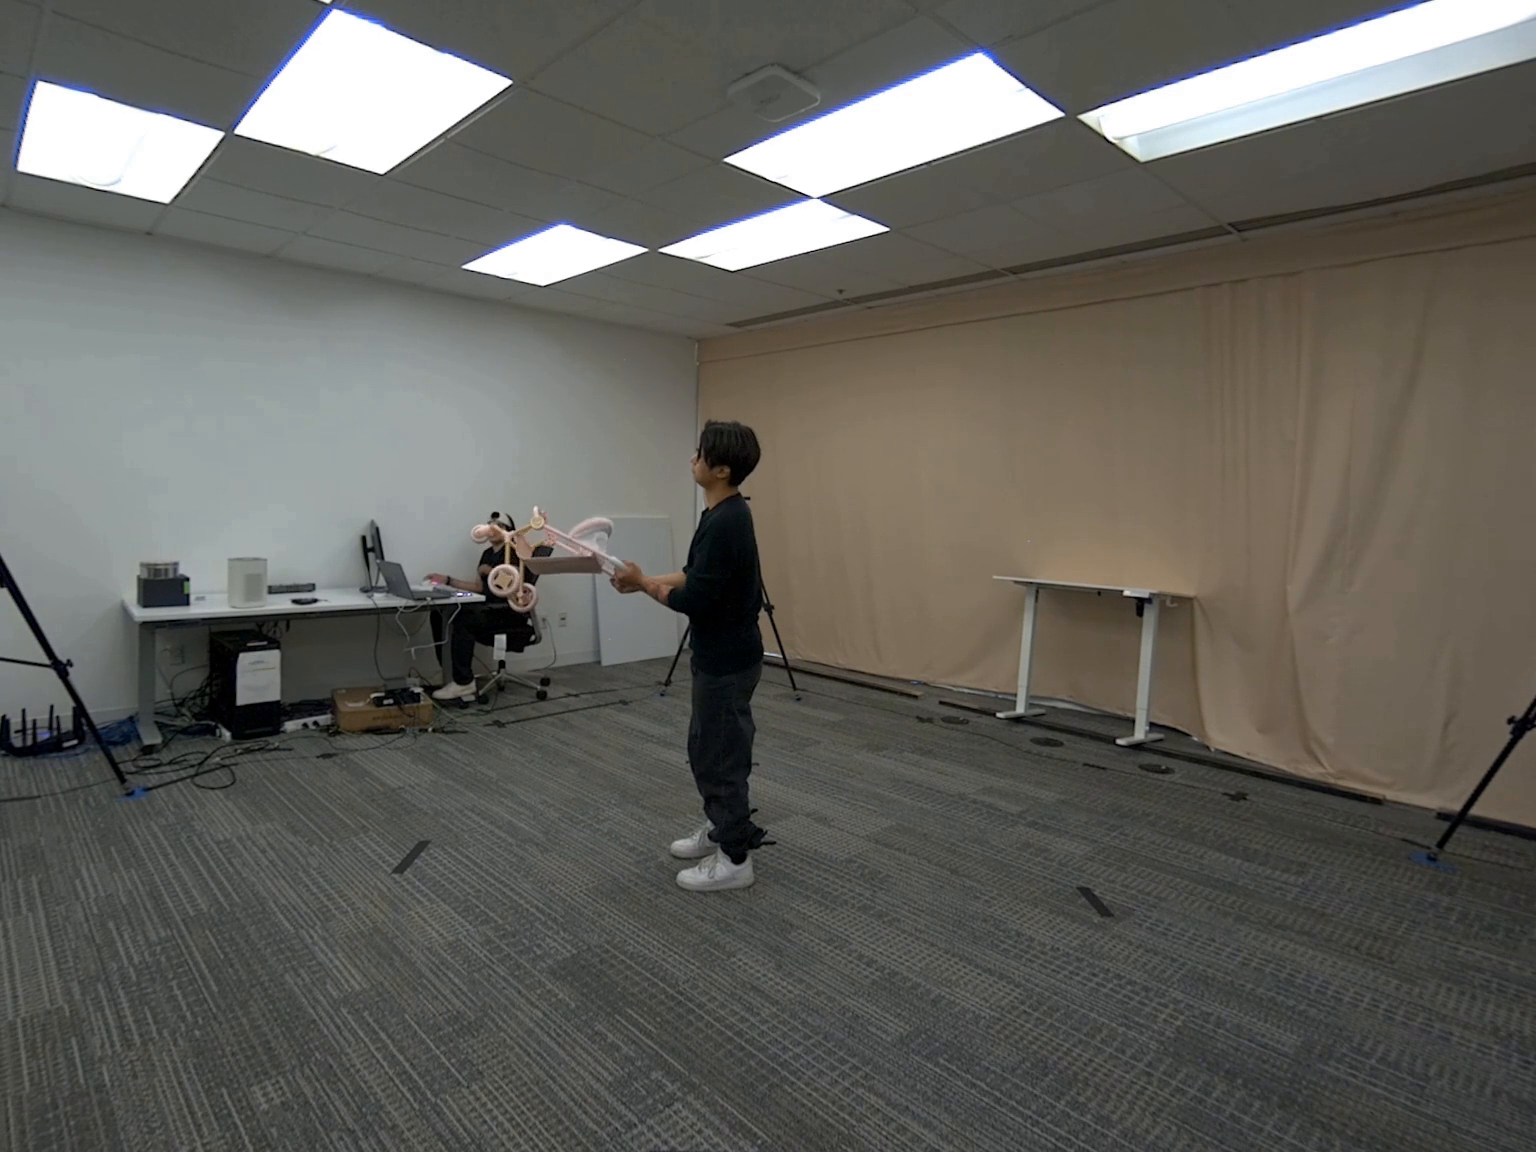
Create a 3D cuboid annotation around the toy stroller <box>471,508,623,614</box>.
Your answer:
[{"bbox_3d":[-0.786,-0.087,3.021,0.534,0.348,0.276,-15,-22,-2],"label":"toy stroller"}]
